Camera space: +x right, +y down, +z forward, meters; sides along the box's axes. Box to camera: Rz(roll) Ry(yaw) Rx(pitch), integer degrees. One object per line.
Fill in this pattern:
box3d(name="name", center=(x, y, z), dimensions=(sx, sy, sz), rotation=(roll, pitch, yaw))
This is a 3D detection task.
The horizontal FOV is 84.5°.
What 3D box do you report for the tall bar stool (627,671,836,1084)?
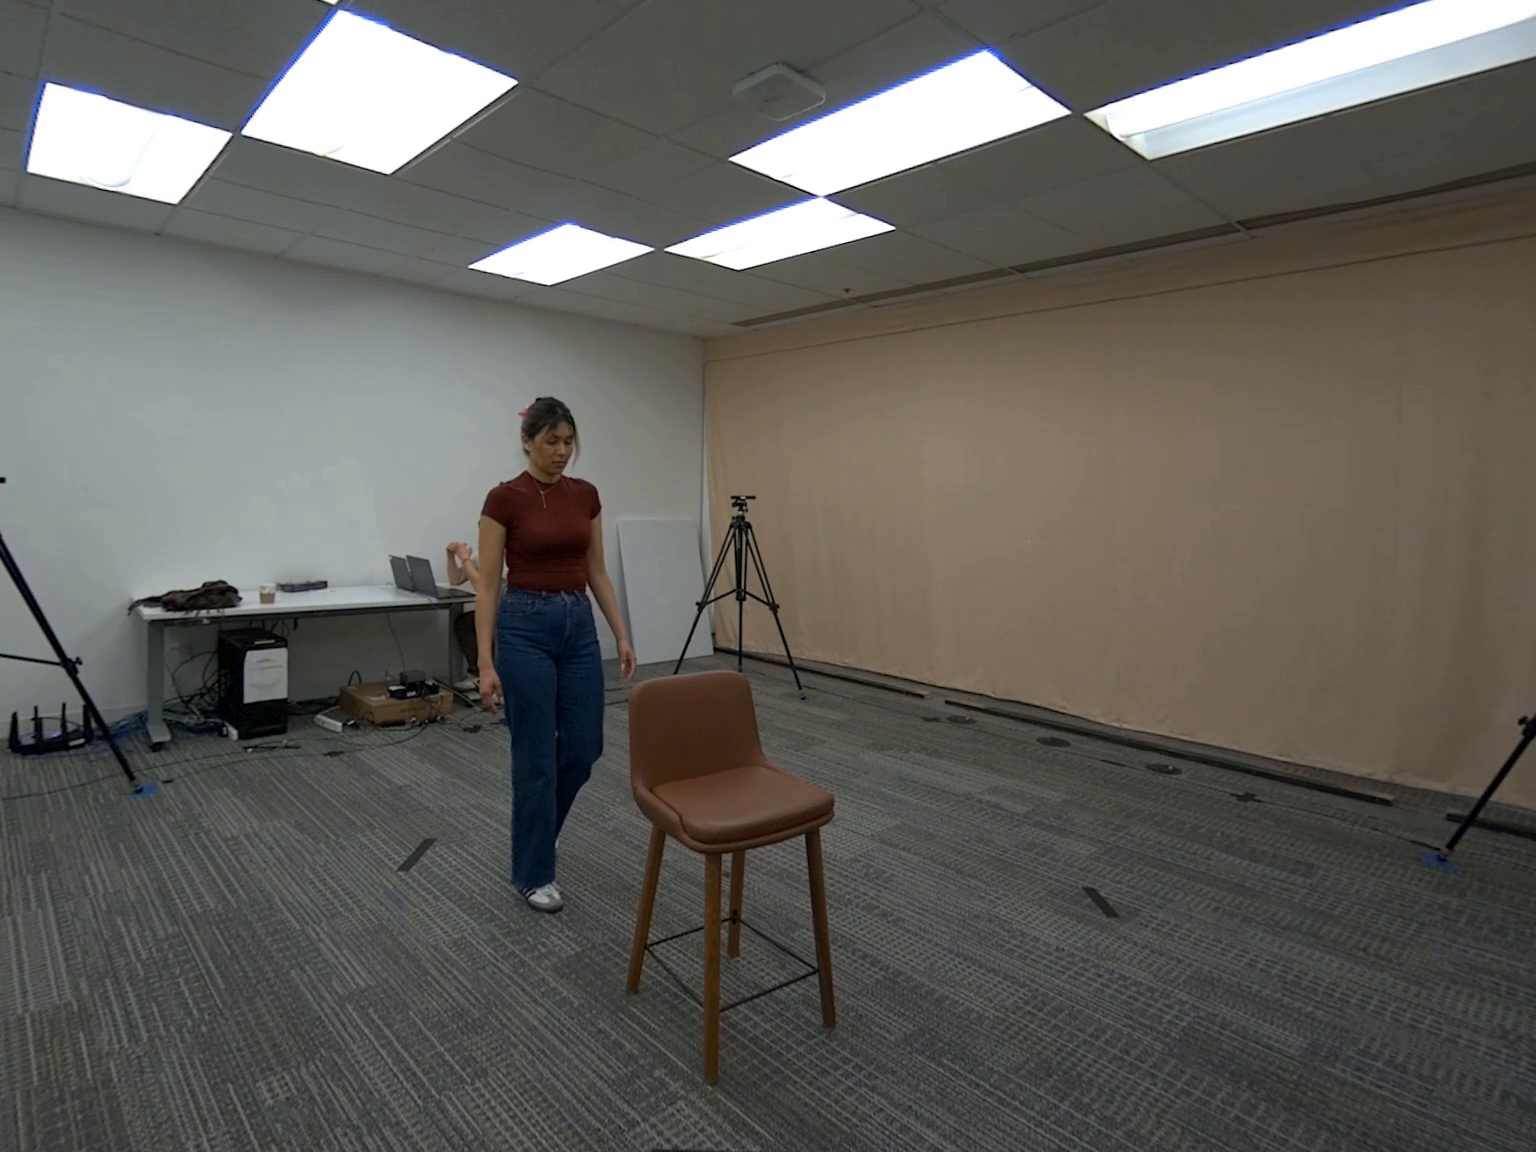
box3d(name="tall bar stool", center=(-0.117, 0.745, 2.271), dimensions=(0.446, 0.888, 0.479), rotation=(-2, 3, -37))
